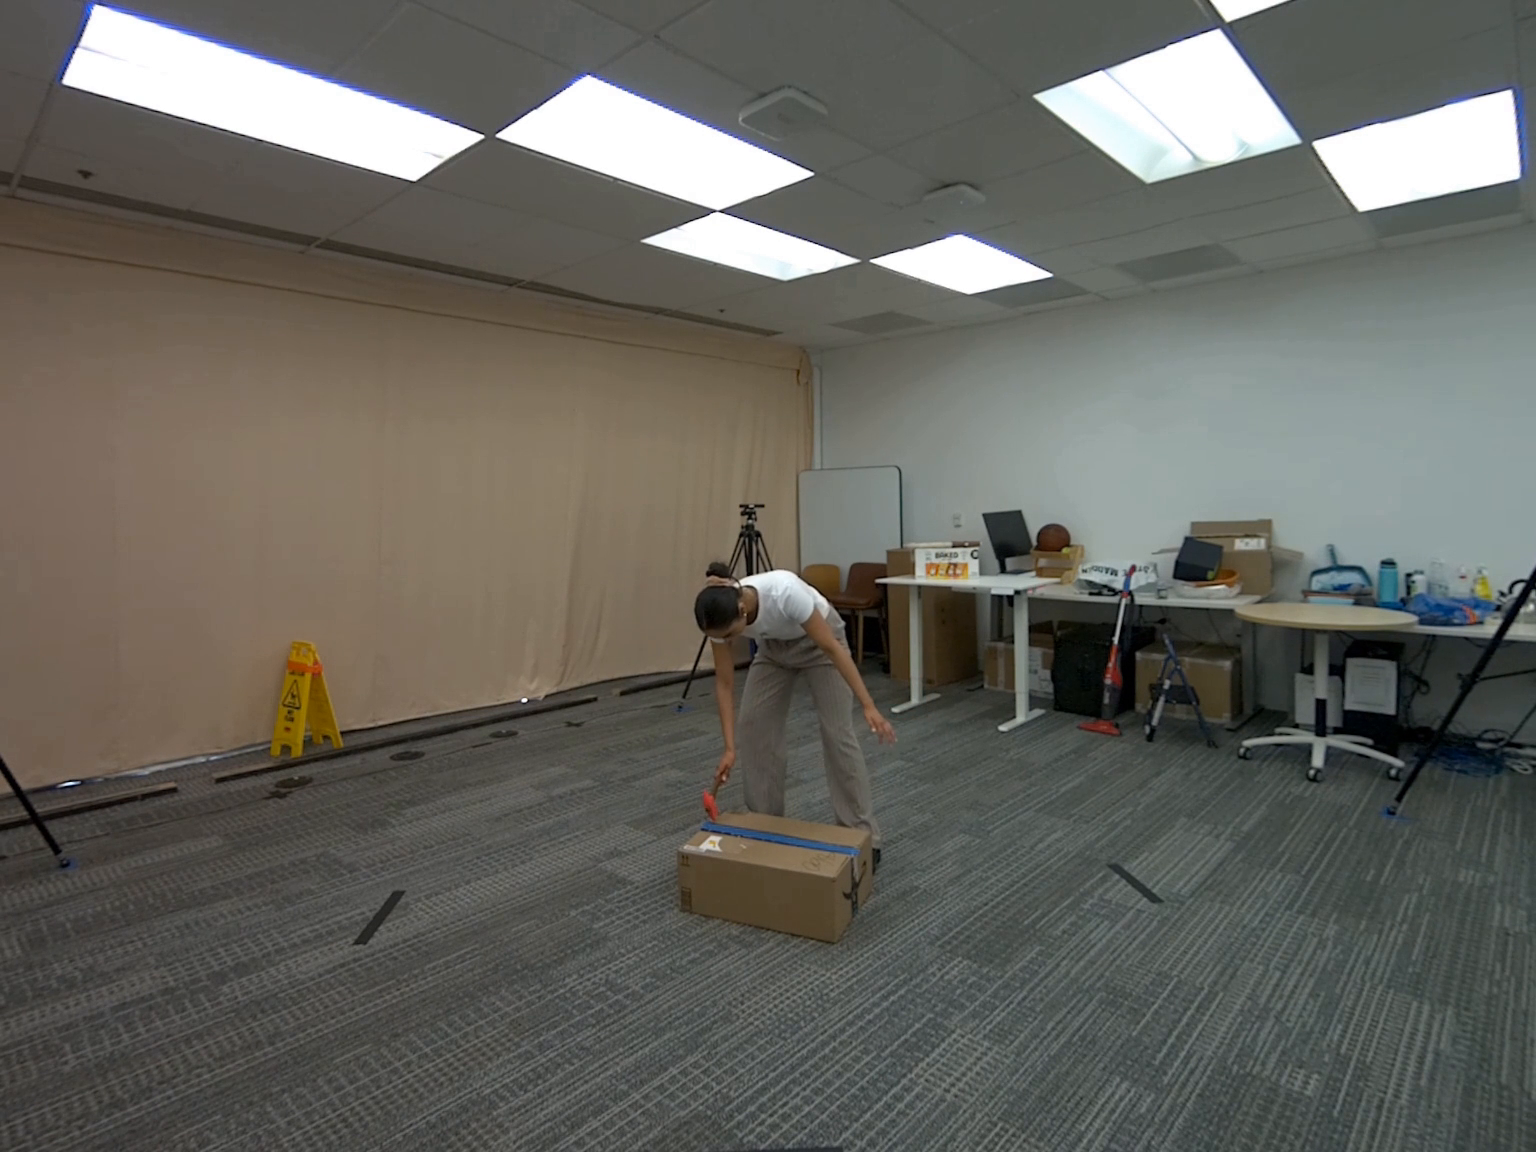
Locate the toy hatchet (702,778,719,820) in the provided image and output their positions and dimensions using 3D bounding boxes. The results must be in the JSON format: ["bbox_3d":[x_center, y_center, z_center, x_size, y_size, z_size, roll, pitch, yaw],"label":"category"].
[{"bbox_3d":[-0.176,0.837,3.206,0.030,0.131,0.265,-9,1,17],"label":"toy hatchet"}]
